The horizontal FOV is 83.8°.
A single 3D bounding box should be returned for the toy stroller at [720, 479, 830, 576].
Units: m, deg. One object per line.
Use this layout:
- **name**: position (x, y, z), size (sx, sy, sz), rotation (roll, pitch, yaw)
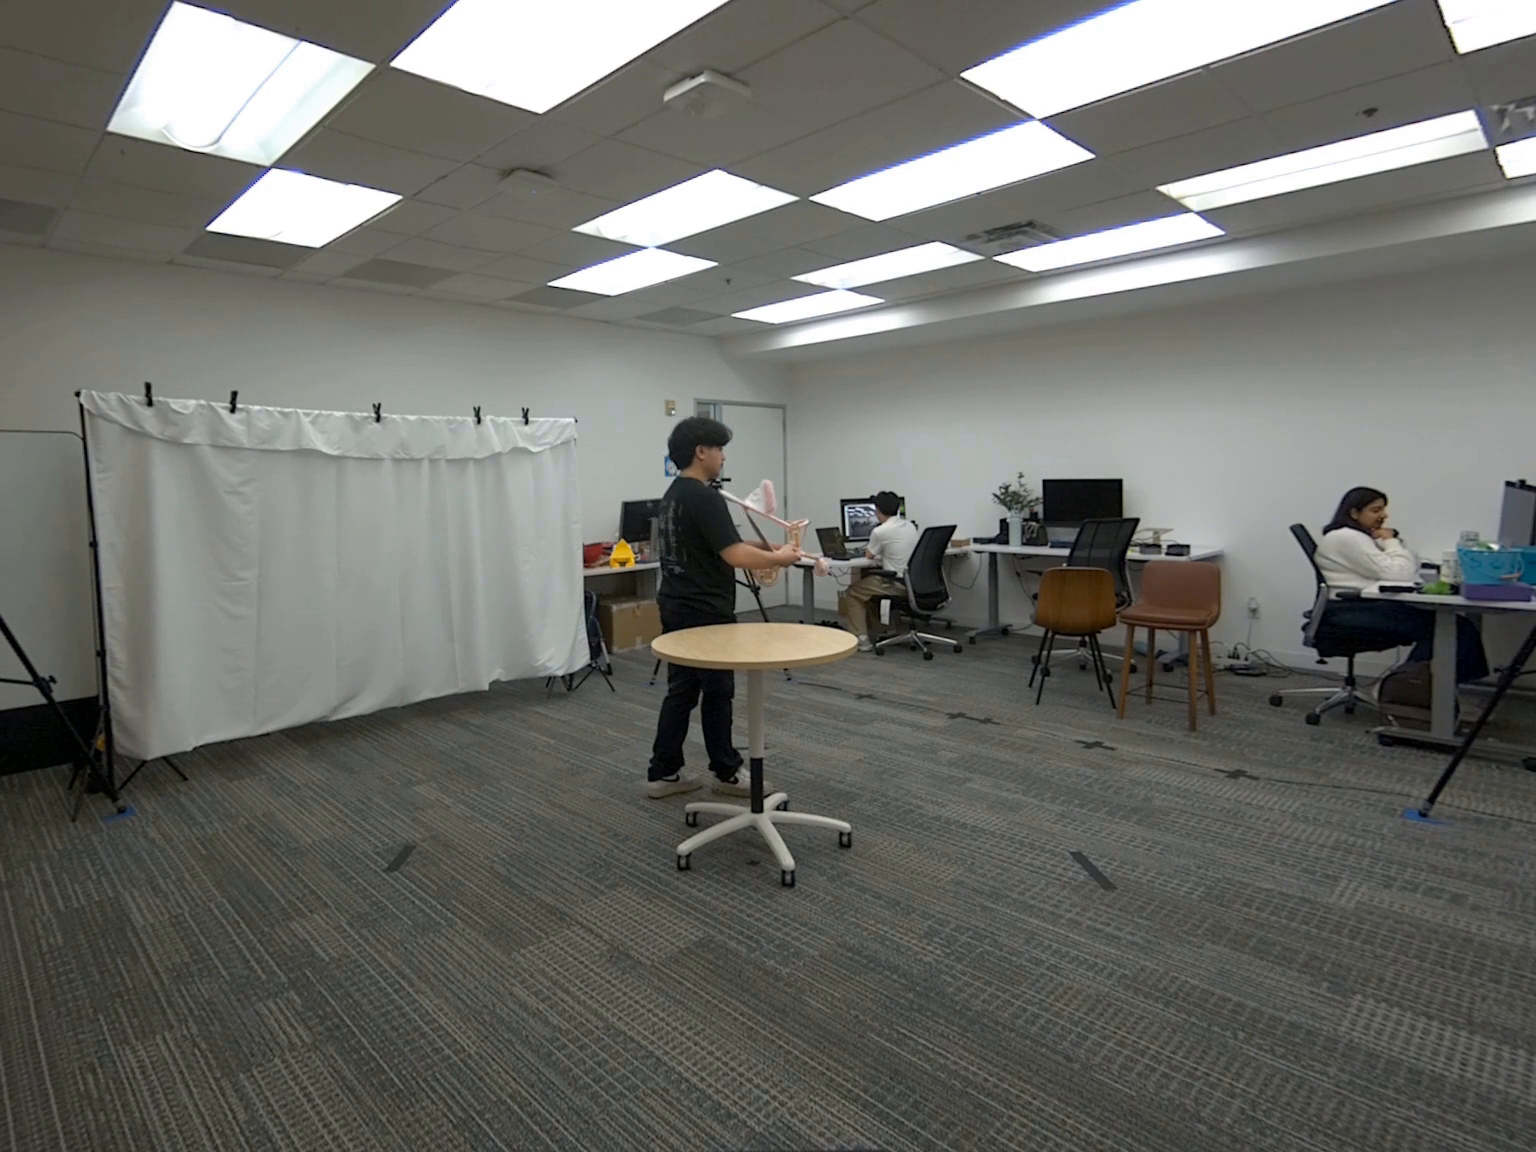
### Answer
- **toy stroller**: position (0.034, -0.198, 3.863), size (0.342, 0.533, 0.282), rotation (-21, 4, 4)
